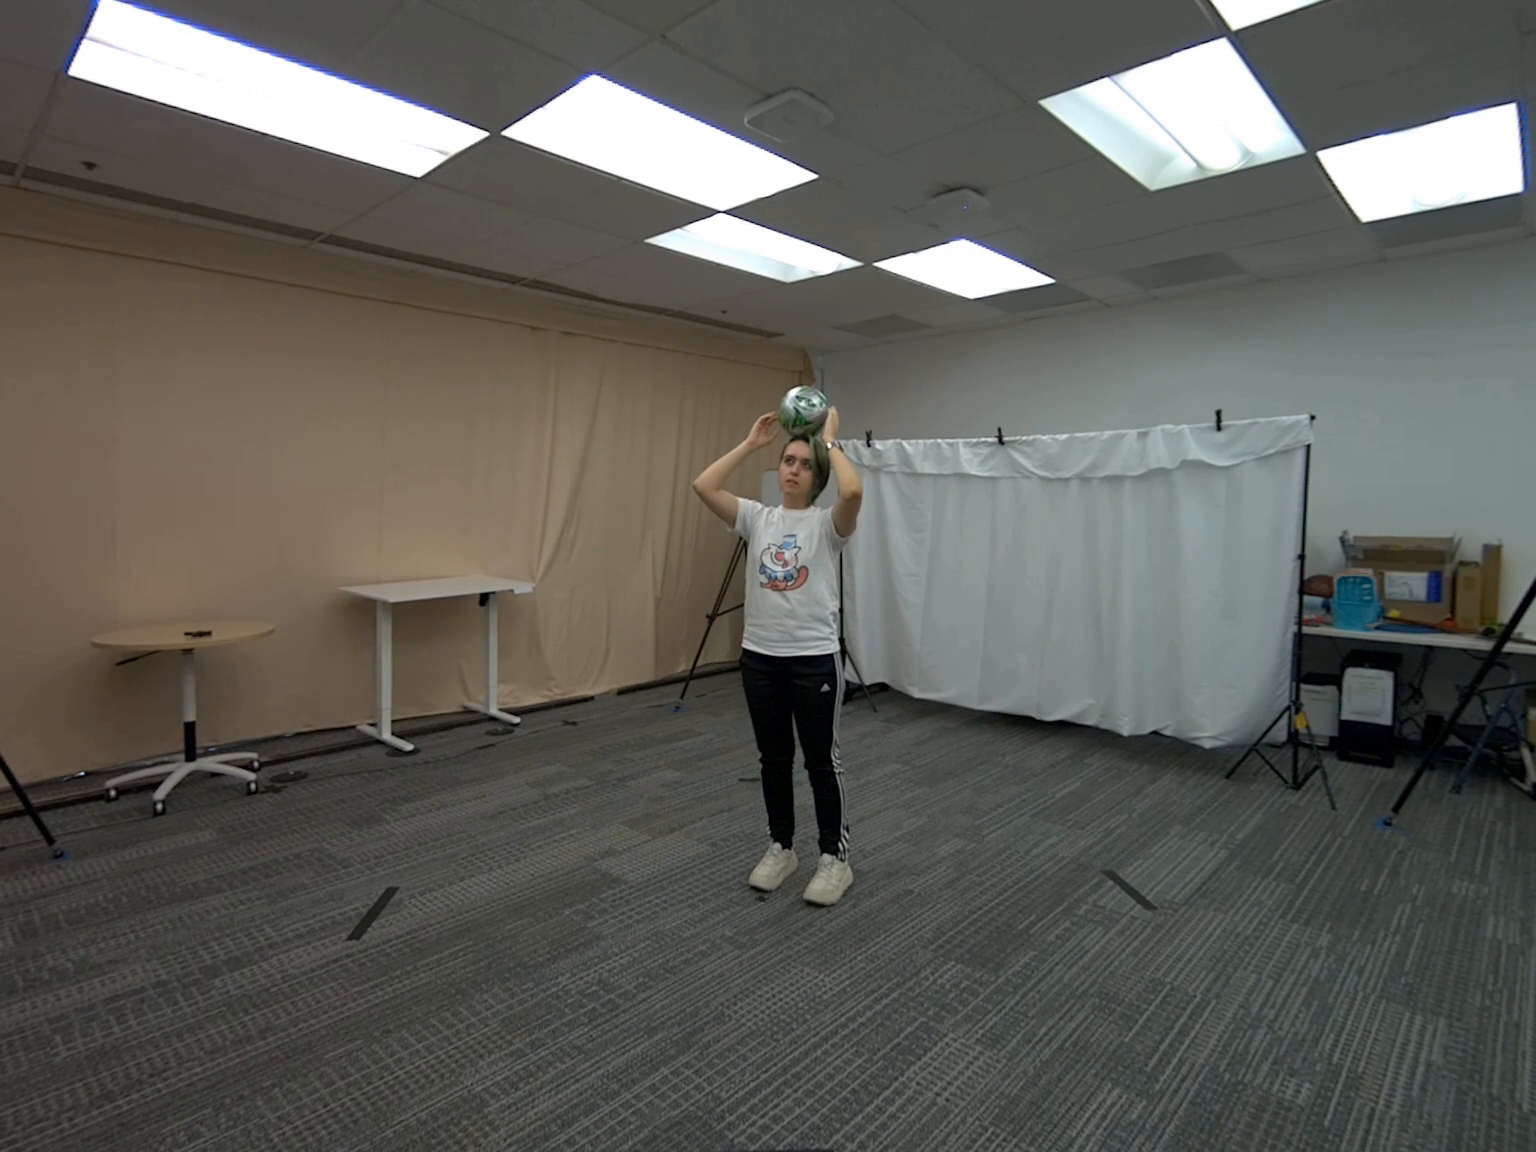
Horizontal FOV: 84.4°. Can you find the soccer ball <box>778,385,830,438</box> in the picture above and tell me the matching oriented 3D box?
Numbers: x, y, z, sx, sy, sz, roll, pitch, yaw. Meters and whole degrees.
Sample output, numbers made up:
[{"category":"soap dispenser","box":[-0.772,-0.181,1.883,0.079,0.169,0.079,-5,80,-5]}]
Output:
[{"category":"soccer ball","box":[0.131,-0.586,3.025,0.187,0.187,0.188,0,4,-2]}]
